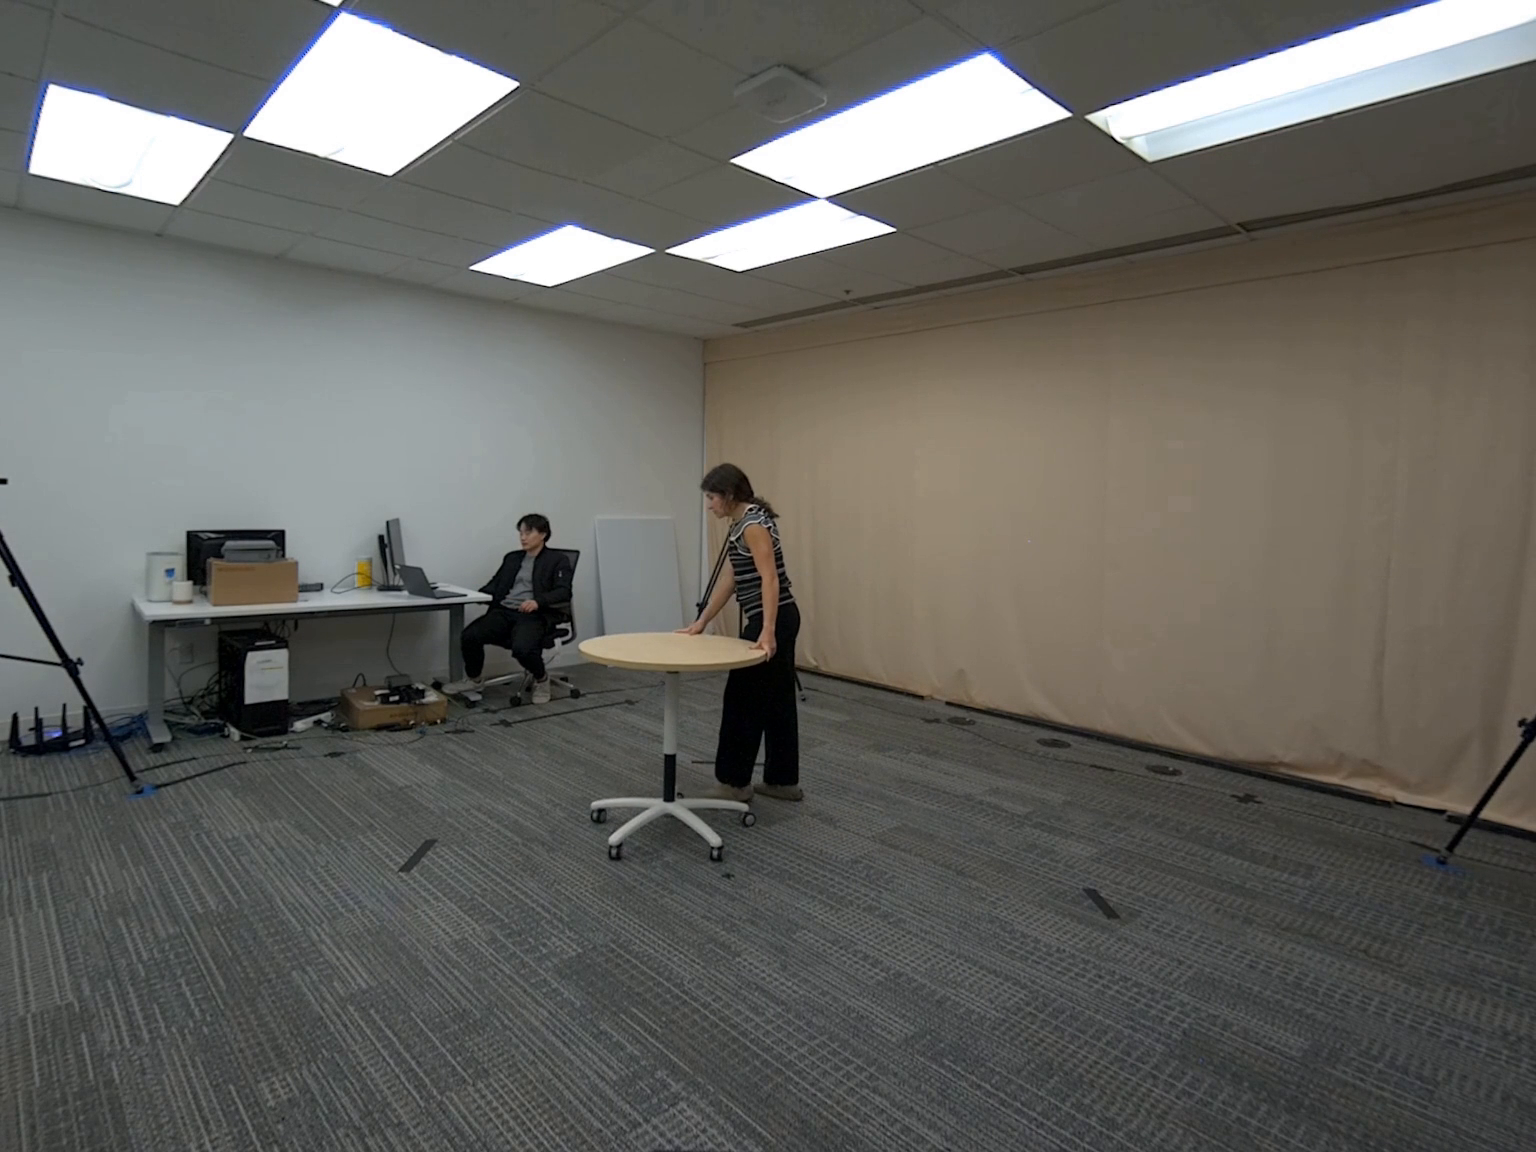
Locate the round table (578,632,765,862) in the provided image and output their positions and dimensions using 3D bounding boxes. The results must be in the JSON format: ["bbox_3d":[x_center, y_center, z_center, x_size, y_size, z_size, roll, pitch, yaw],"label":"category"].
[{"bbox_3d":[-0.411,0.682,3.457,0.763,0.792,0.766,2,3,-1],"label":"round table"}]
